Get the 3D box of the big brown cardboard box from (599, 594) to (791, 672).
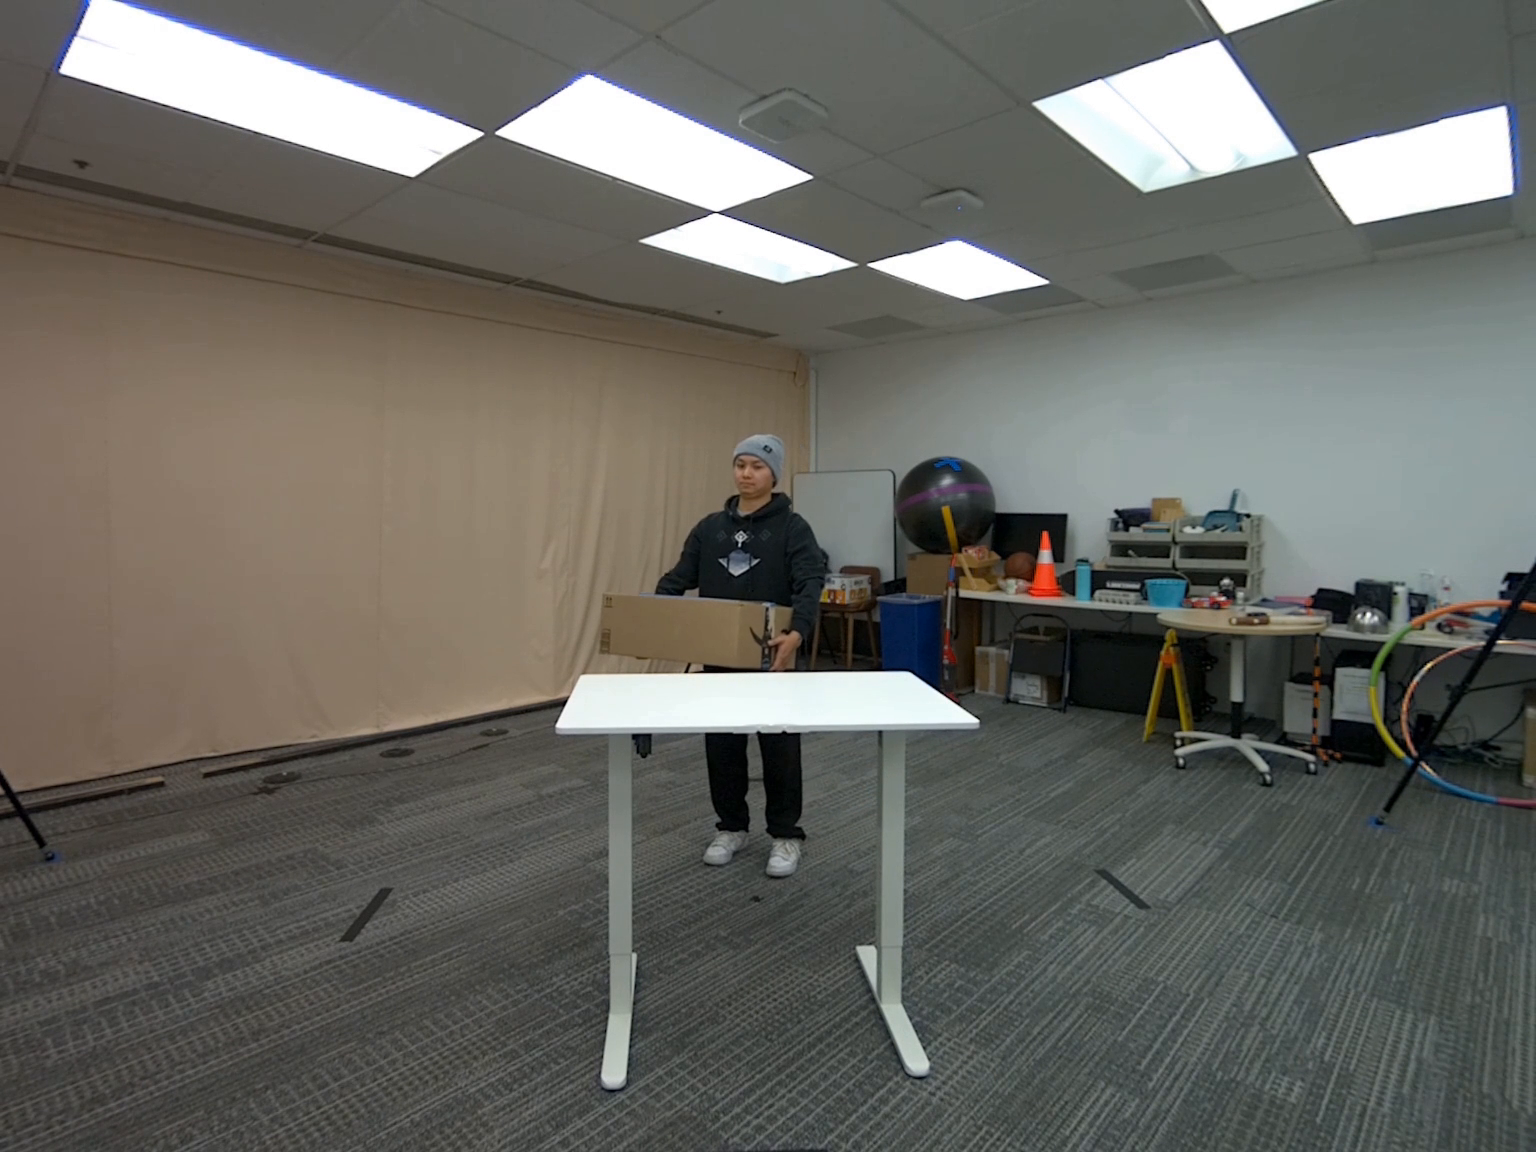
[{"bbox_3d":[-0.245,0.197,3.001,0.606,0.234,0.404,3,-4,31],"label":"big brown cardboard box"}]
